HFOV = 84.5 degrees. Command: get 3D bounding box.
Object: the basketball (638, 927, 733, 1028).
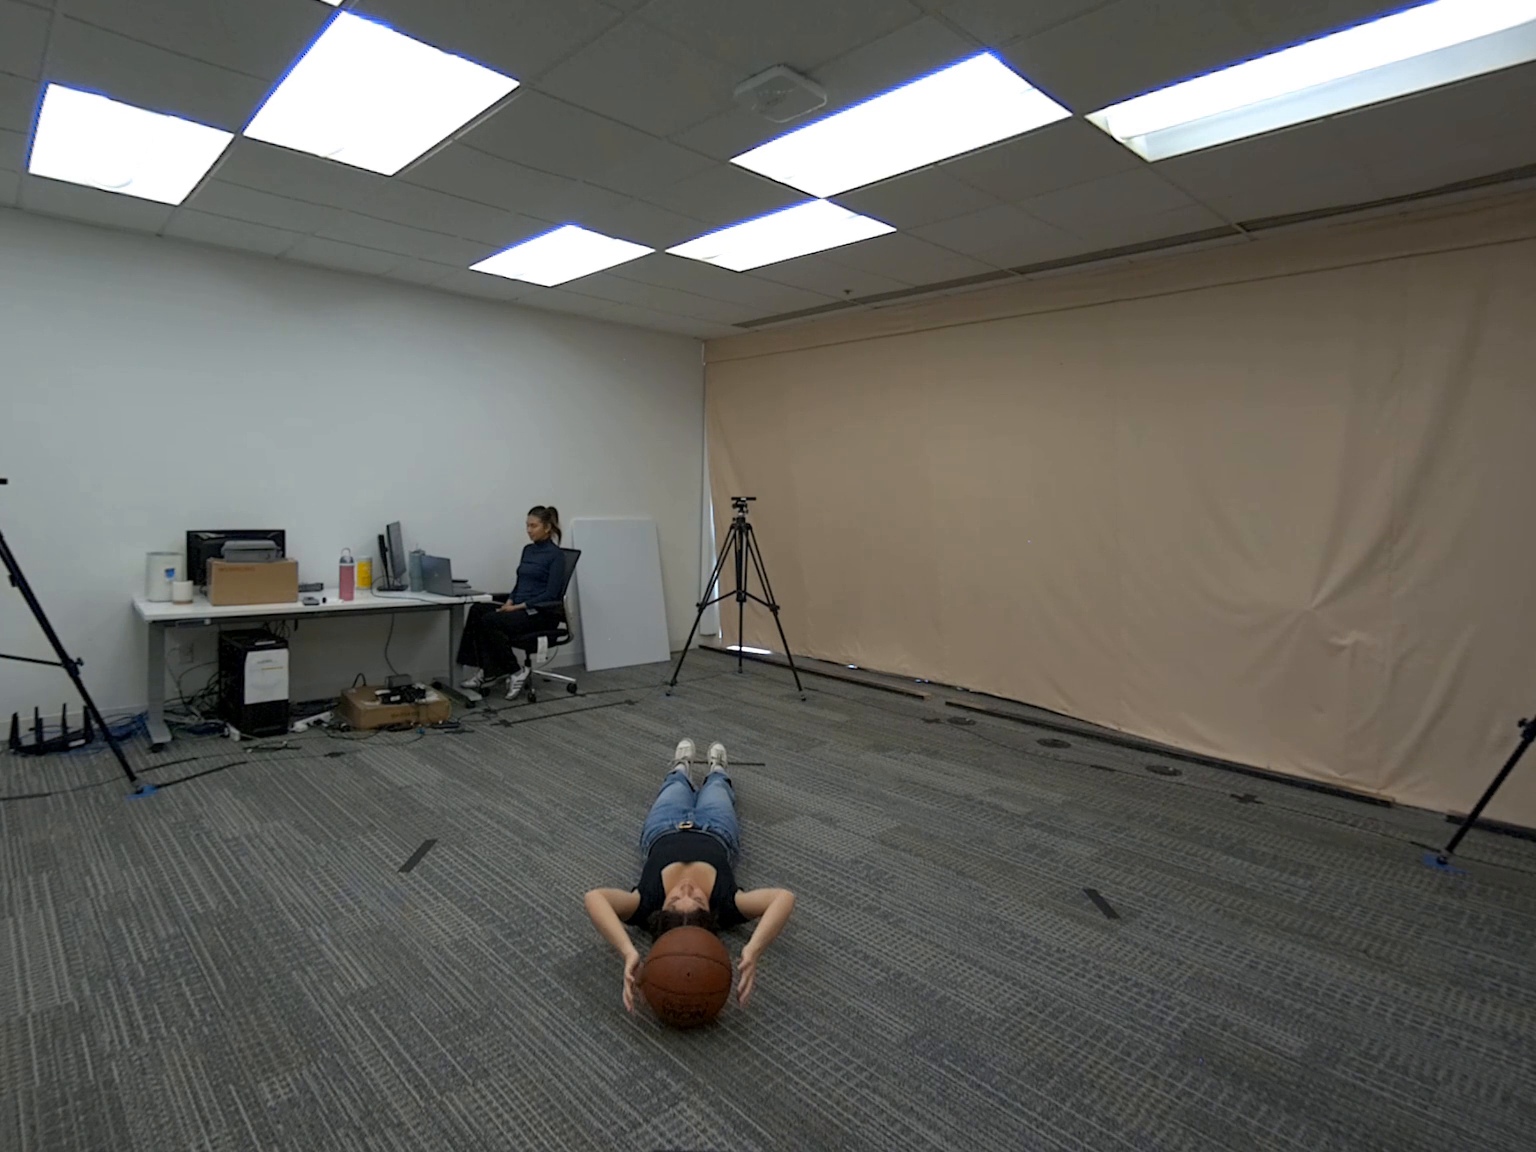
[{"bbox_3d":[-0.218,1.065,2.234,0.236,0.235,0.237,1,4,-1],"label":"basketball"}]
